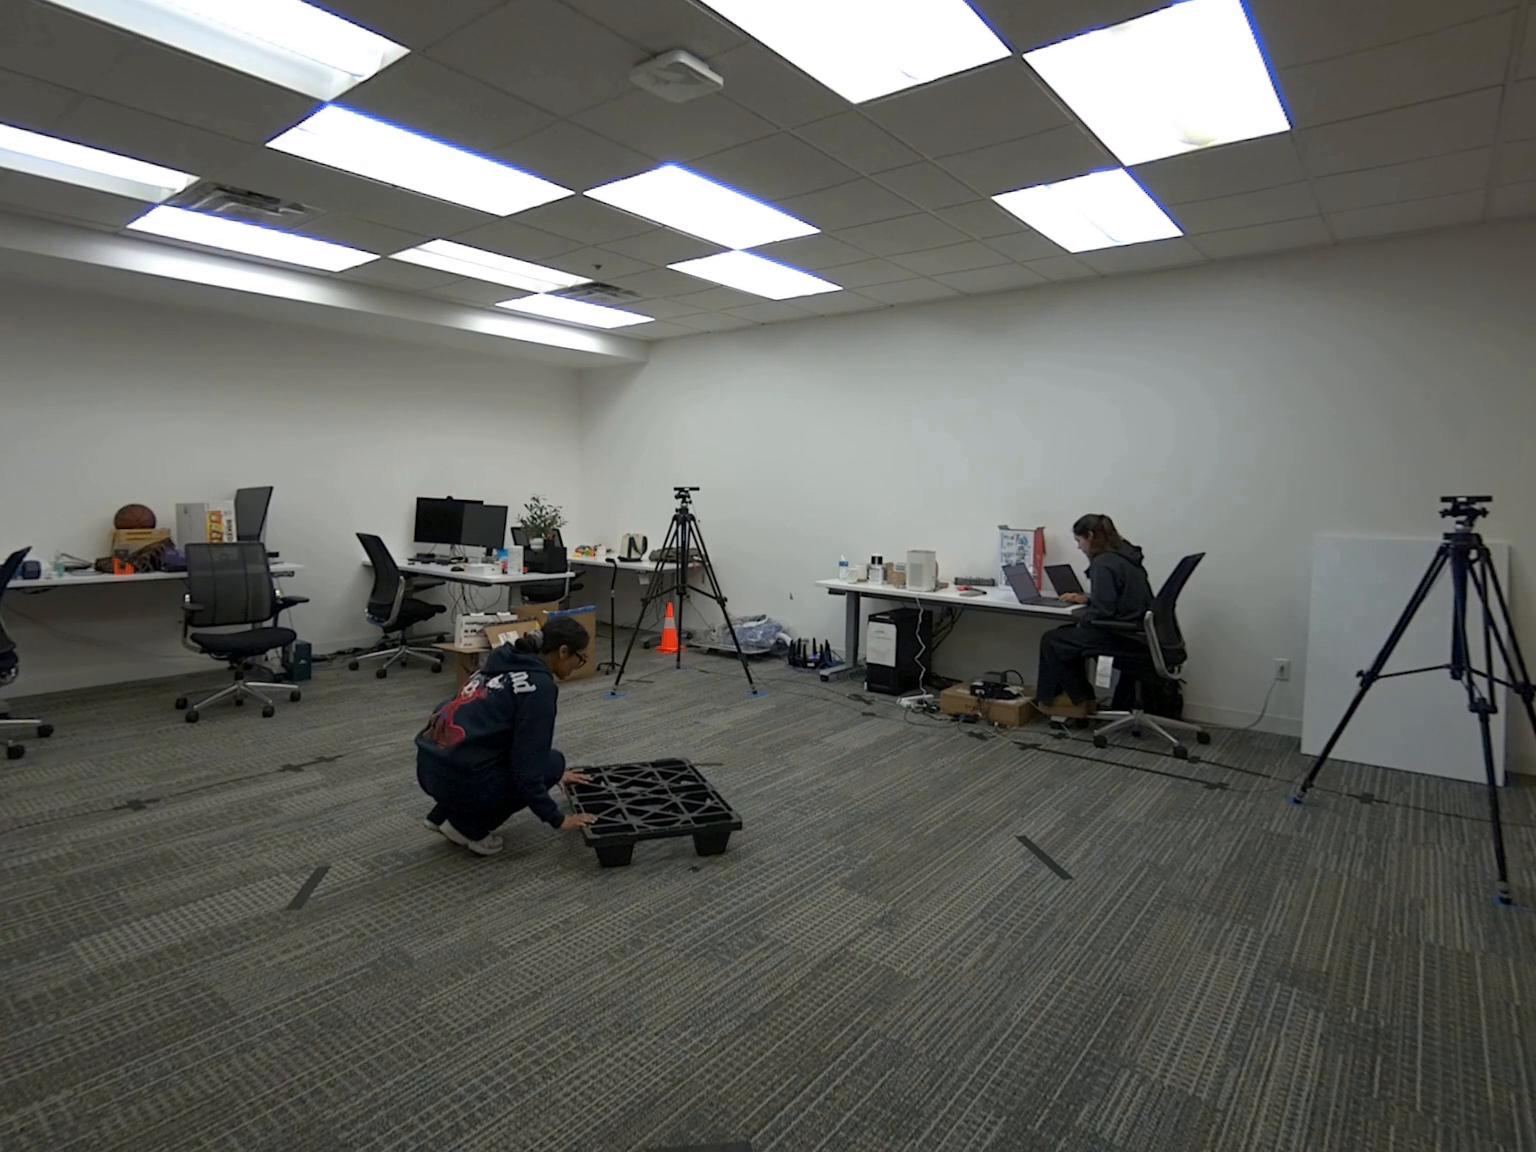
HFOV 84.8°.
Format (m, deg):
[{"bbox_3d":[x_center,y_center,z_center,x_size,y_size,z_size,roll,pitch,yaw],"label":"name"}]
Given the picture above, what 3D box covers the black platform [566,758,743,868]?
[{"bbox_3d":[-0.533,0.959,3.503,0.594,0.143,0.824,-2,6,-20],"label":"black platform"}]
